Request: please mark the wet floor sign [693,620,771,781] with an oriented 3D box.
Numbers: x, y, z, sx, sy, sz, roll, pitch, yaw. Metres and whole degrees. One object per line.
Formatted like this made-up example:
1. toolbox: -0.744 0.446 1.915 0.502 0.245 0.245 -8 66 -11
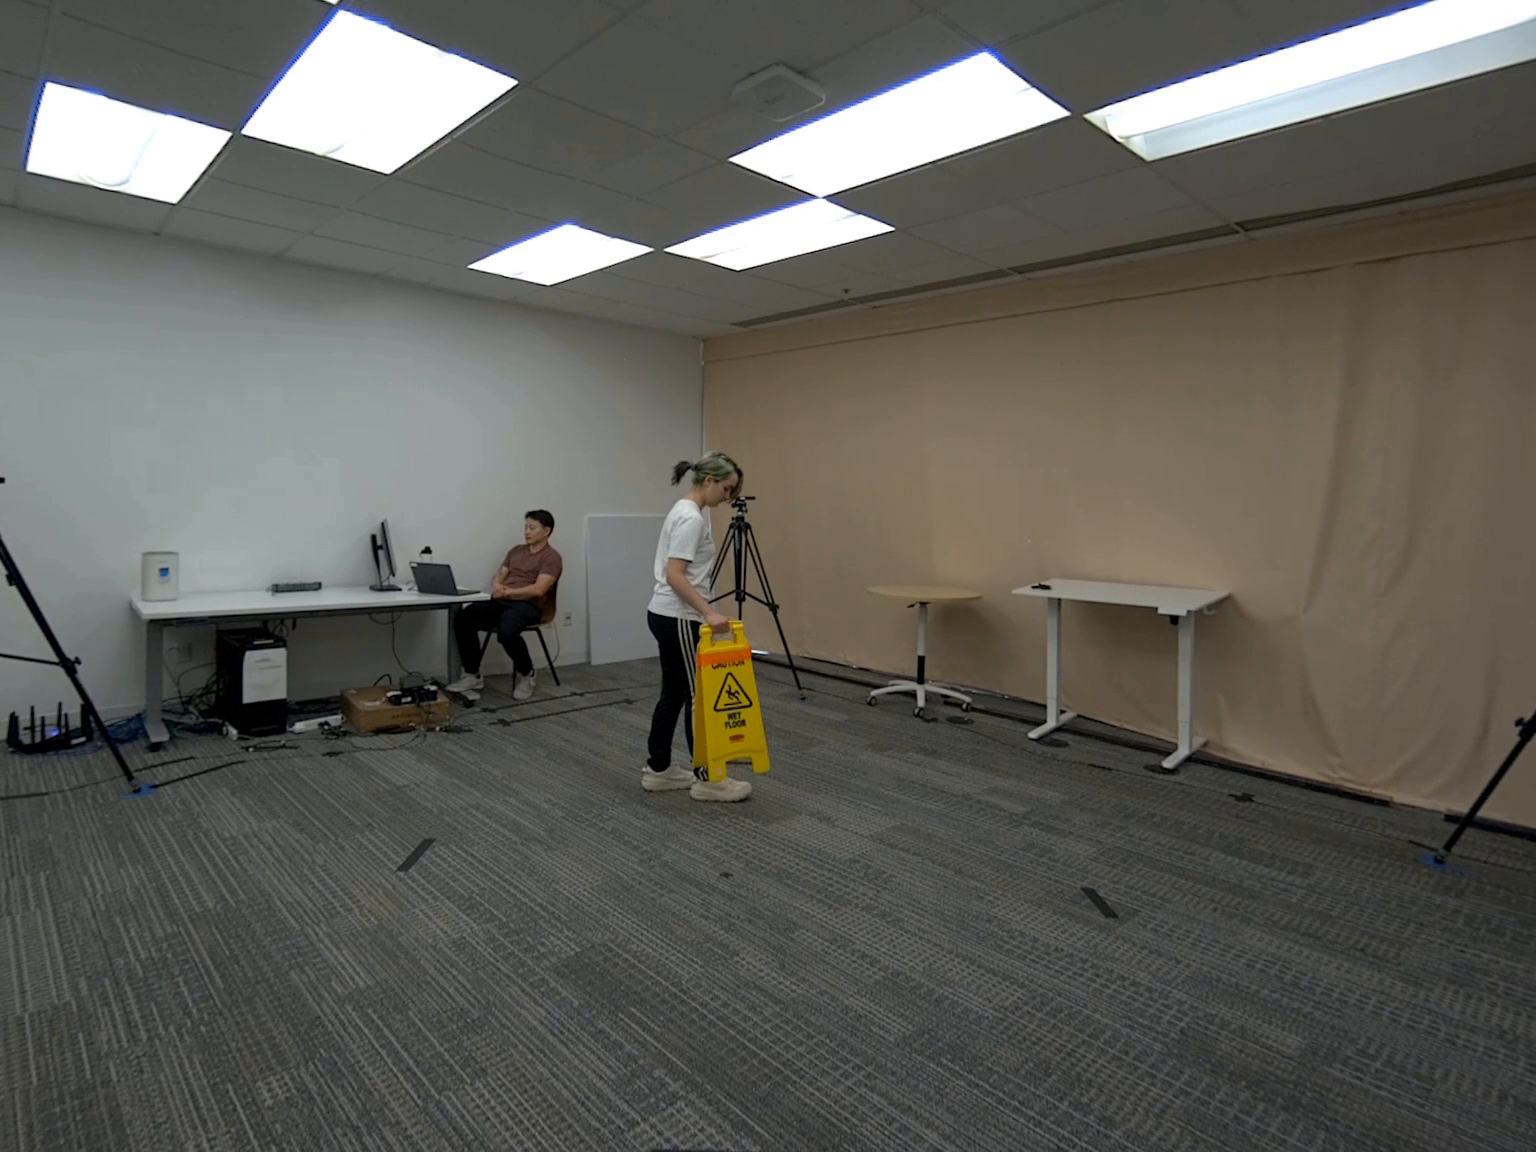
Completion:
1. wet floor sign: -0.191 0.529 3.700 0.278 0.643 0.295 -6 5 -20
